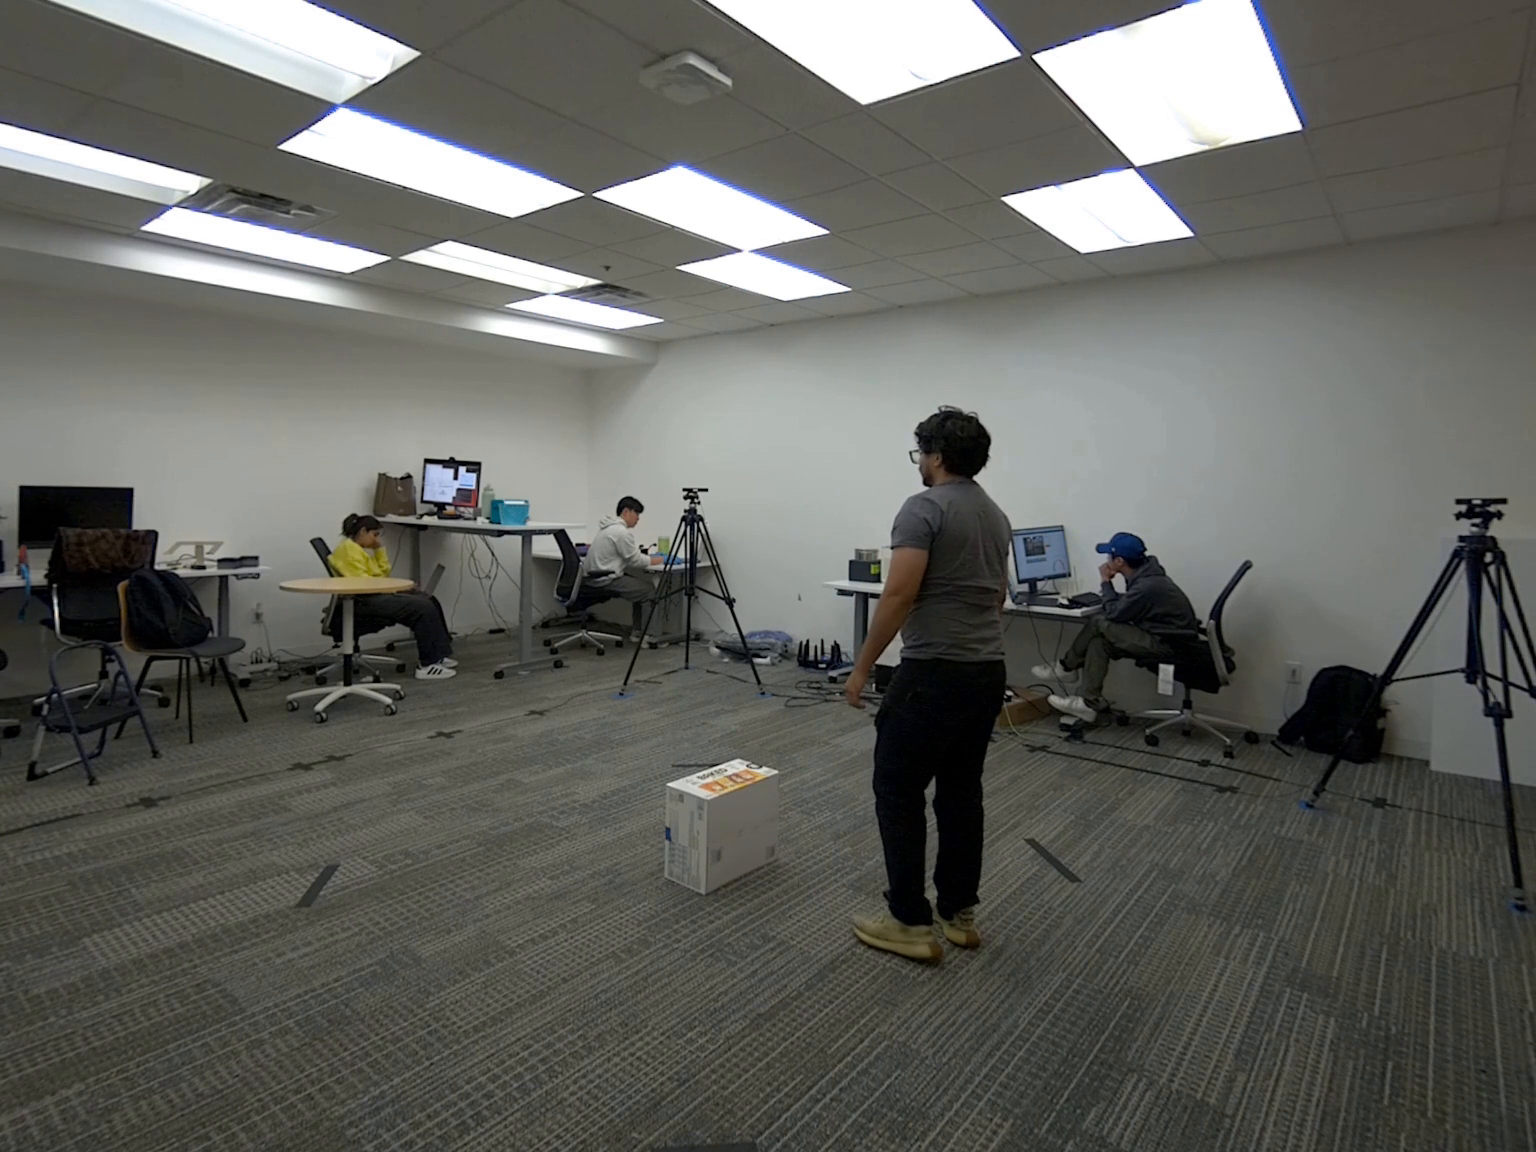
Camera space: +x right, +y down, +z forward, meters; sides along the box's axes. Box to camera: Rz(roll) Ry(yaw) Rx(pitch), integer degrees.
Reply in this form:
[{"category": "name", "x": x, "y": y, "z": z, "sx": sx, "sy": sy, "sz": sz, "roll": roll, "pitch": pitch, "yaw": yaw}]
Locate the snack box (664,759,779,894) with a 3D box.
[{"category": "snack box", "x": -0.171, "y": 0.899, "z": 3.109, "sx": 0.212, "sy": 0.339, "sz": 0.393, "roll": 4, "pitch": 6, "yaw": 40}]
